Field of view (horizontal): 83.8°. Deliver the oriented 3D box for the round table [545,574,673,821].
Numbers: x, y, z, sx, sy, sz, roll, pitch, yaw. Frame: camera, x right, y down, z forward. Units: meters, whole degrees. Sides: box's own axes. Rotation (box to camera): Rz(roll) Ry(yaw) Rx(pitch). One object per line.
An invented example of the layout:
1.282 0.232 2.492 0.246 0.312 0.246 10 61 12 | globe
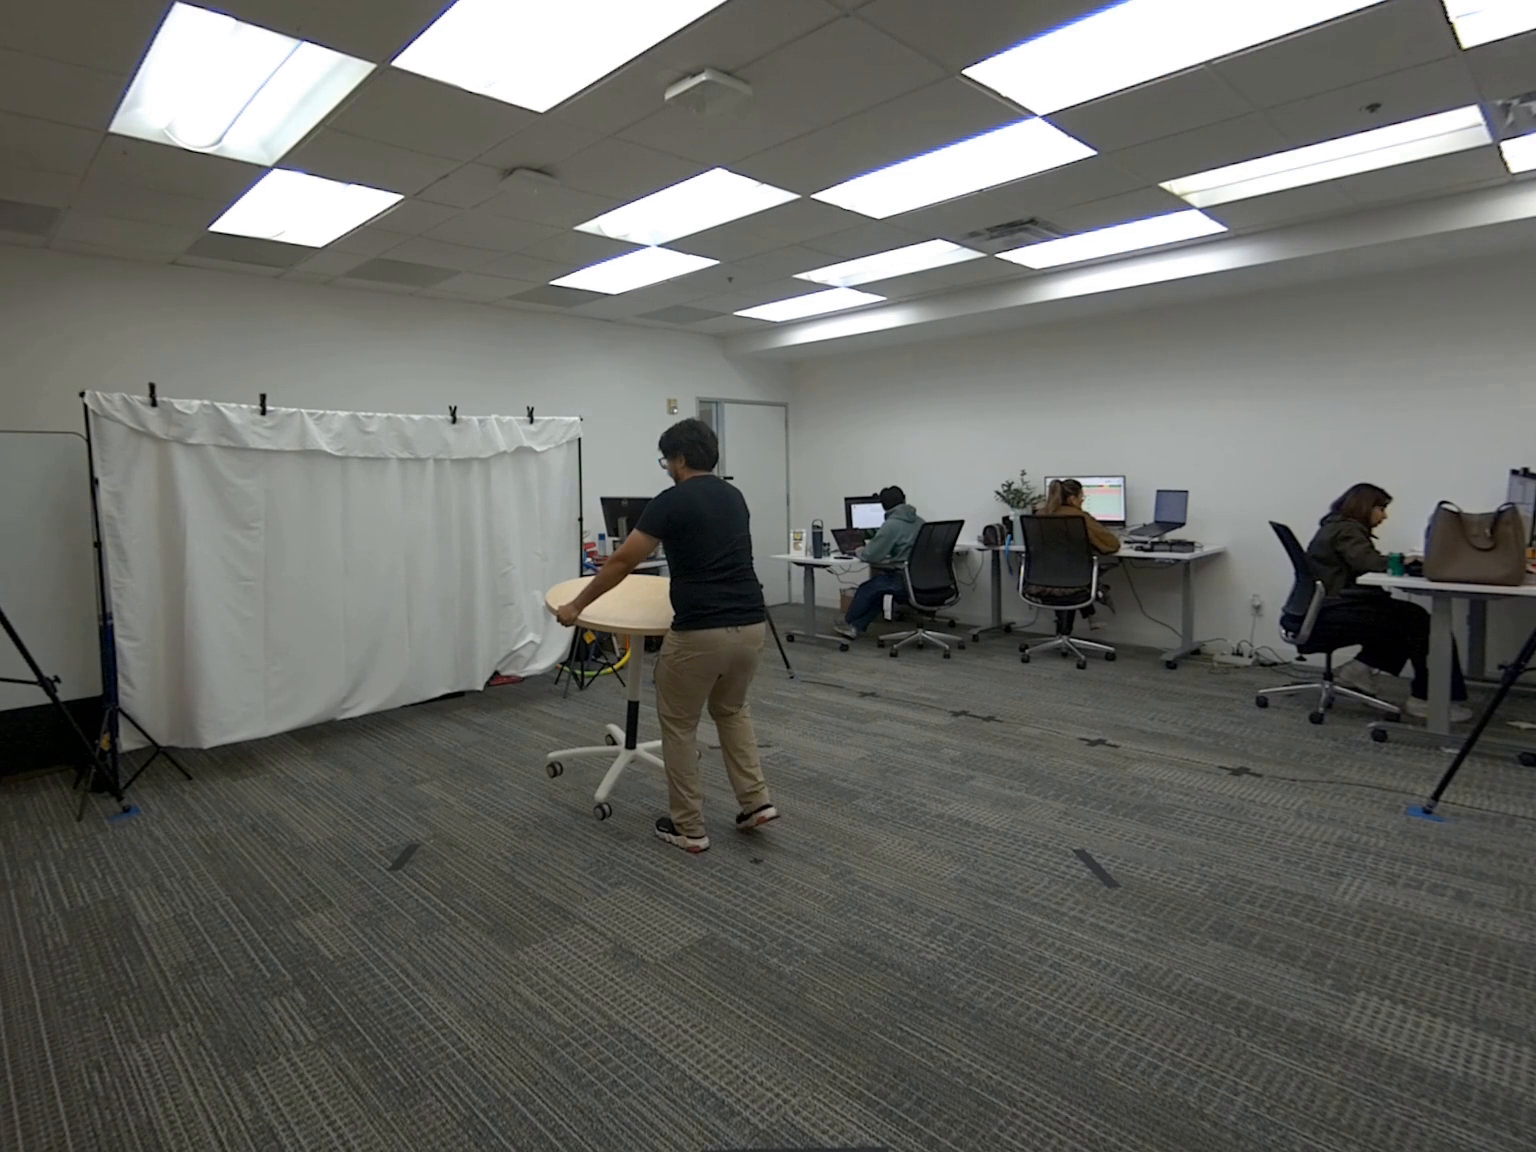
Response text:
-0.574 0.487 3.592 0.784 0.778 0.795 4 13 -3 | round table
